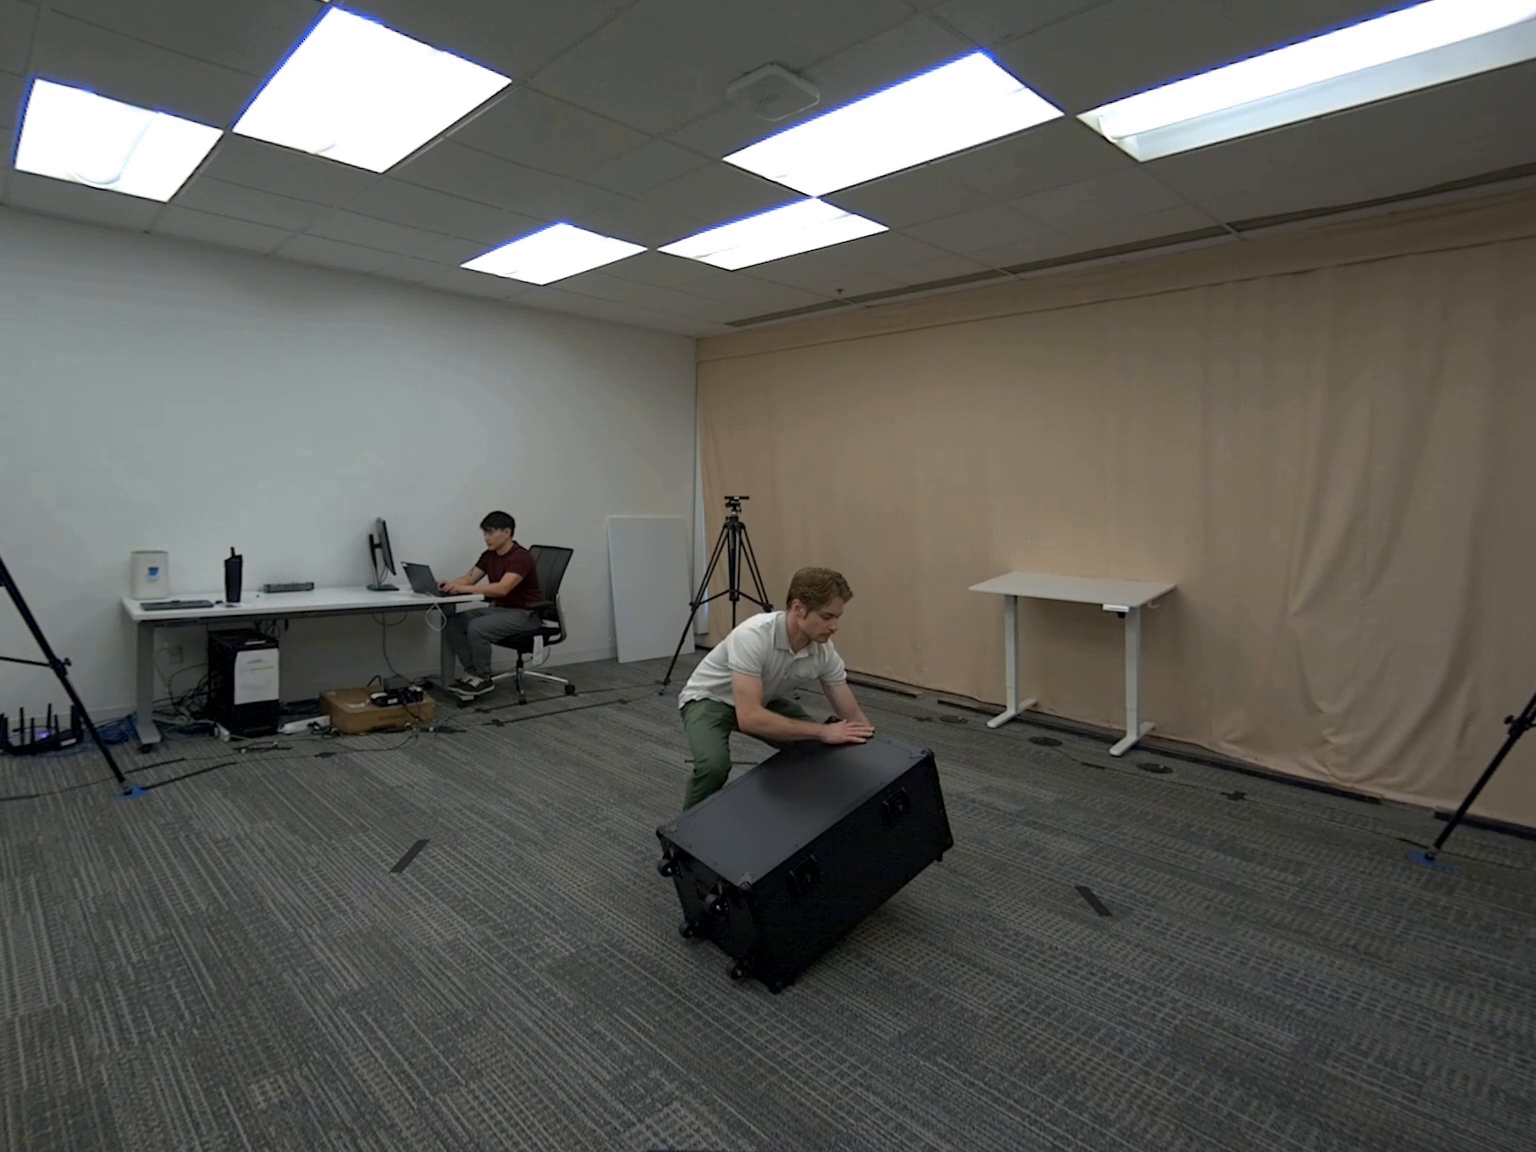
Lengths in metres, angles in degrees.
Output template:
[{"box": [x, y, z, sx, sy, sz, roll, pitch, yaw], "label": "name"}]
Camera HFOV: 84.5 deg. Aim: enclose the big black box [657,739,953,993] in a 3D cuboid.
[{"box": [0.100, 0.861, 2.689, 0.859, 0.379, 0.537, -25, 20, -30], "label": "big black box"}]
